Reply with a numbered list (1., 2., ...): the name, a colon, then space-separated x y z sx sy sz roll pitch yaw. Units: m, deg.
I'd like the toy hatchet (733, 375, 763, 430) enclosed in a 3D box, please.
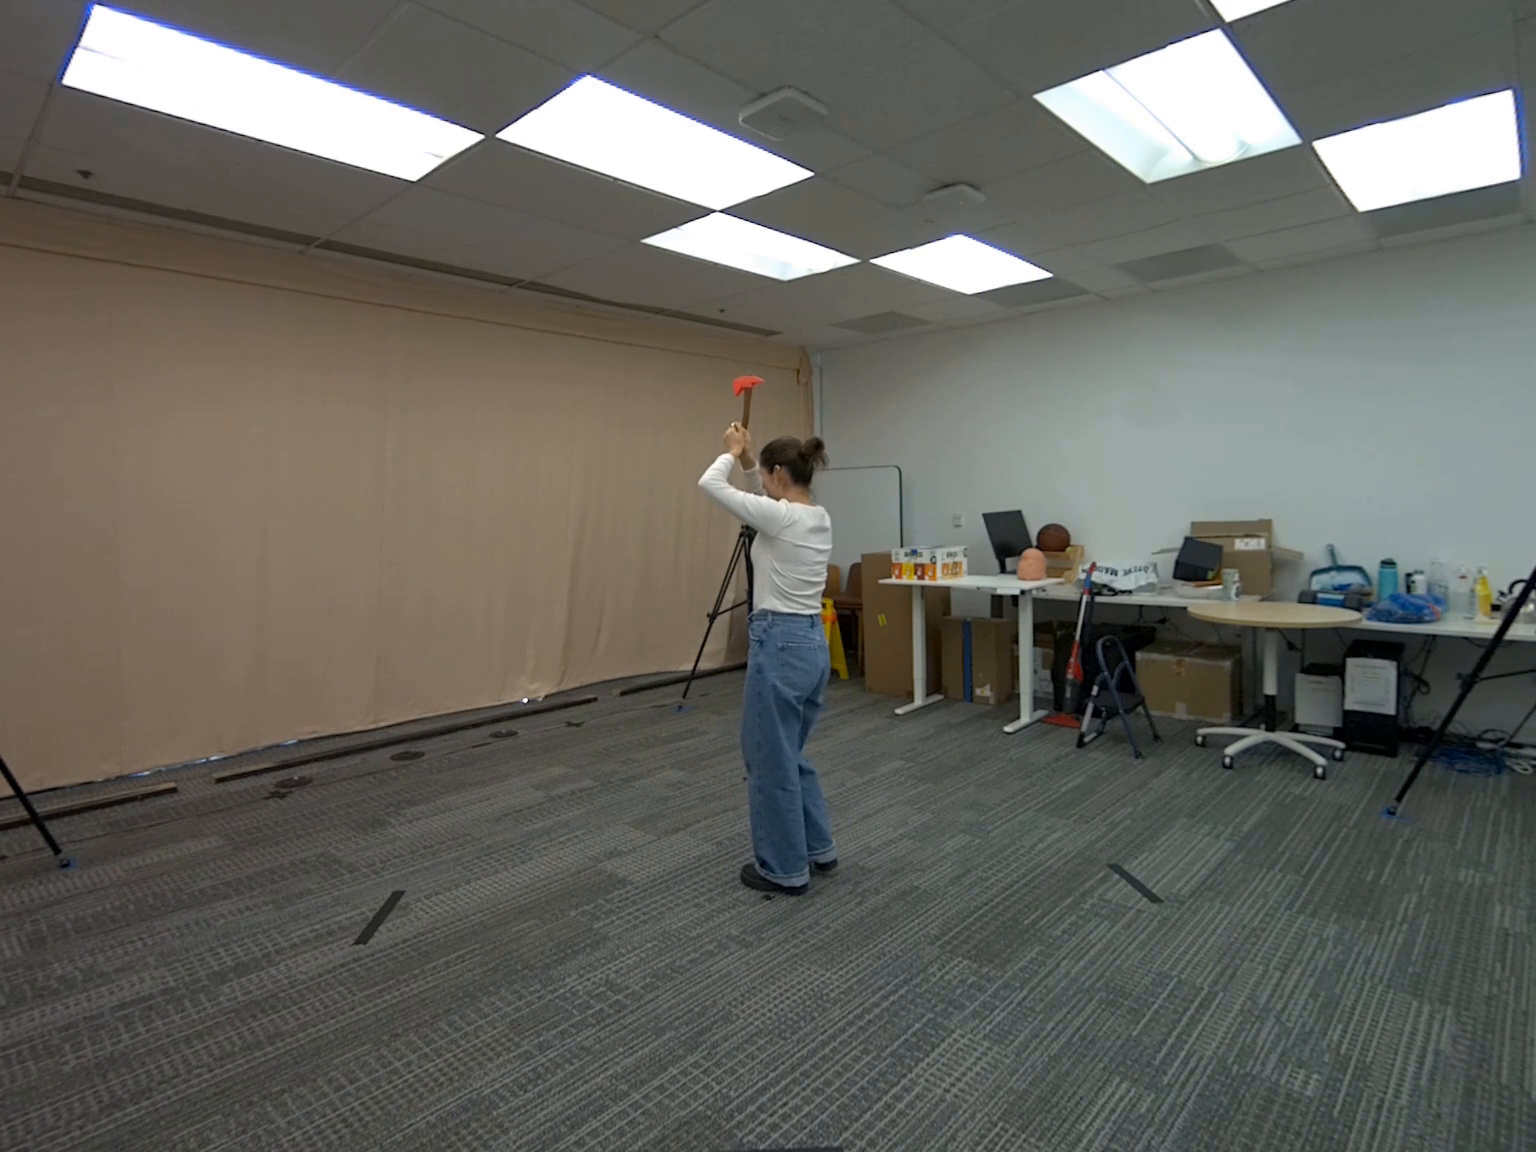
1. toy hatchet: -0.101 -0.612 3.080 0.135 0.269 0.029 27 13 29
